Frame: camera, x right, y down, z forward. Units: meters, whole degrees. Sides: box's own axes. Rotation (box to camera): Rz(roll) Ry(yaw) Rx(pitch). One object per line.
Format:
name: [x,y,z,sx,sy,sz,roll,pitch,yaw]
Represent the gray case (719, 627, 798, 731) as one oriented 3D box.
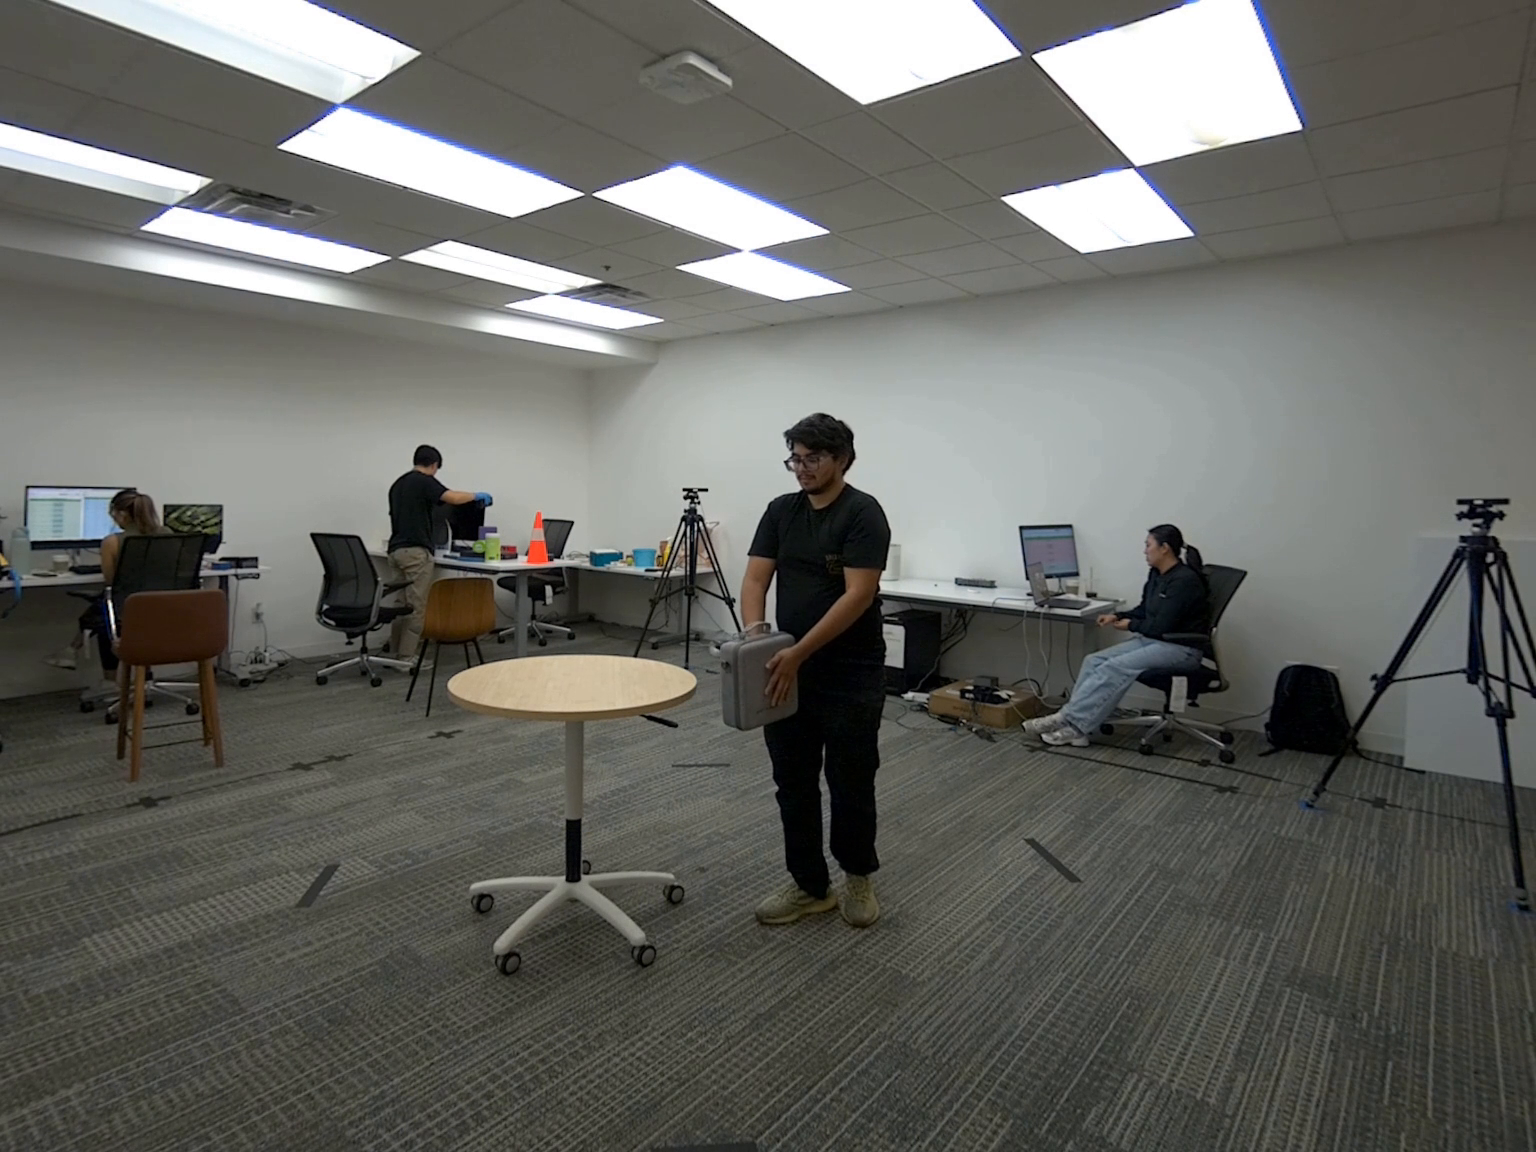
gray case: [-0.035,0.297,2.512,0.108,0.260,0.249,1,5,43]
